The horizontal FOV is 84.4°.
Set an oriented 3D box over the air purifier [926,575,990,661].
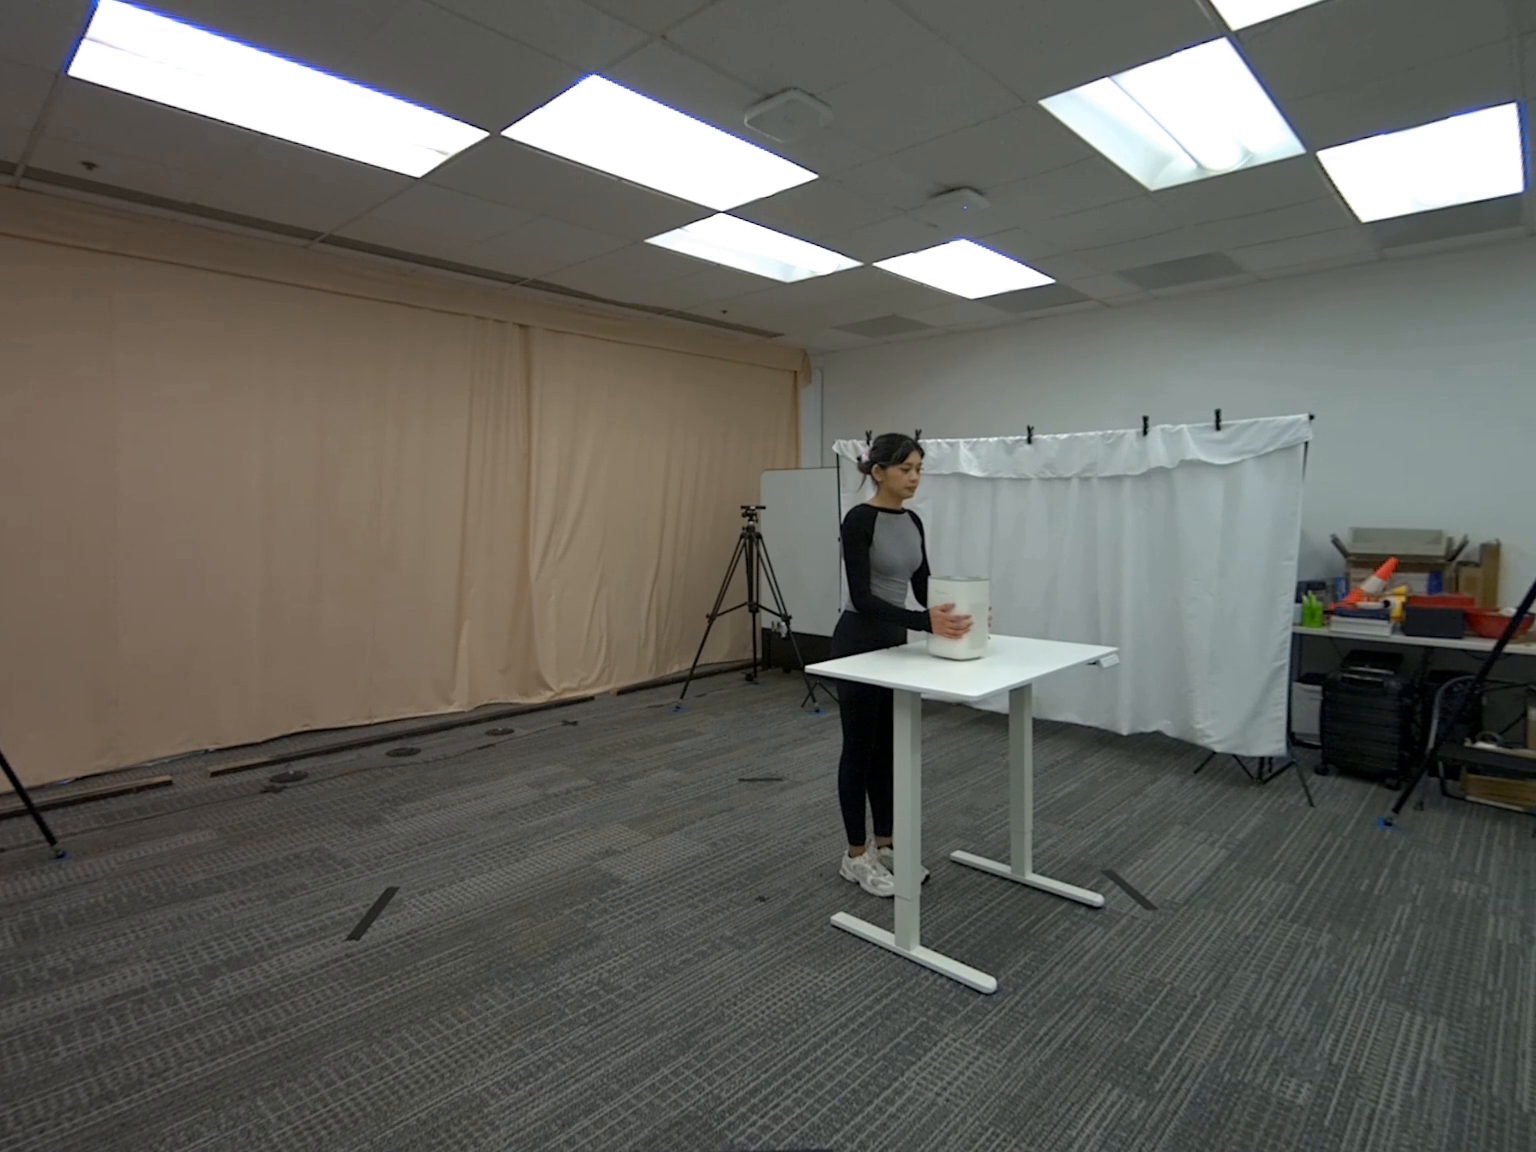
[{"bbox_3d":[0.637,0.136,2.817,0.166,0.265,0.176,-2,4,-38],"label":"air purifier"}]
